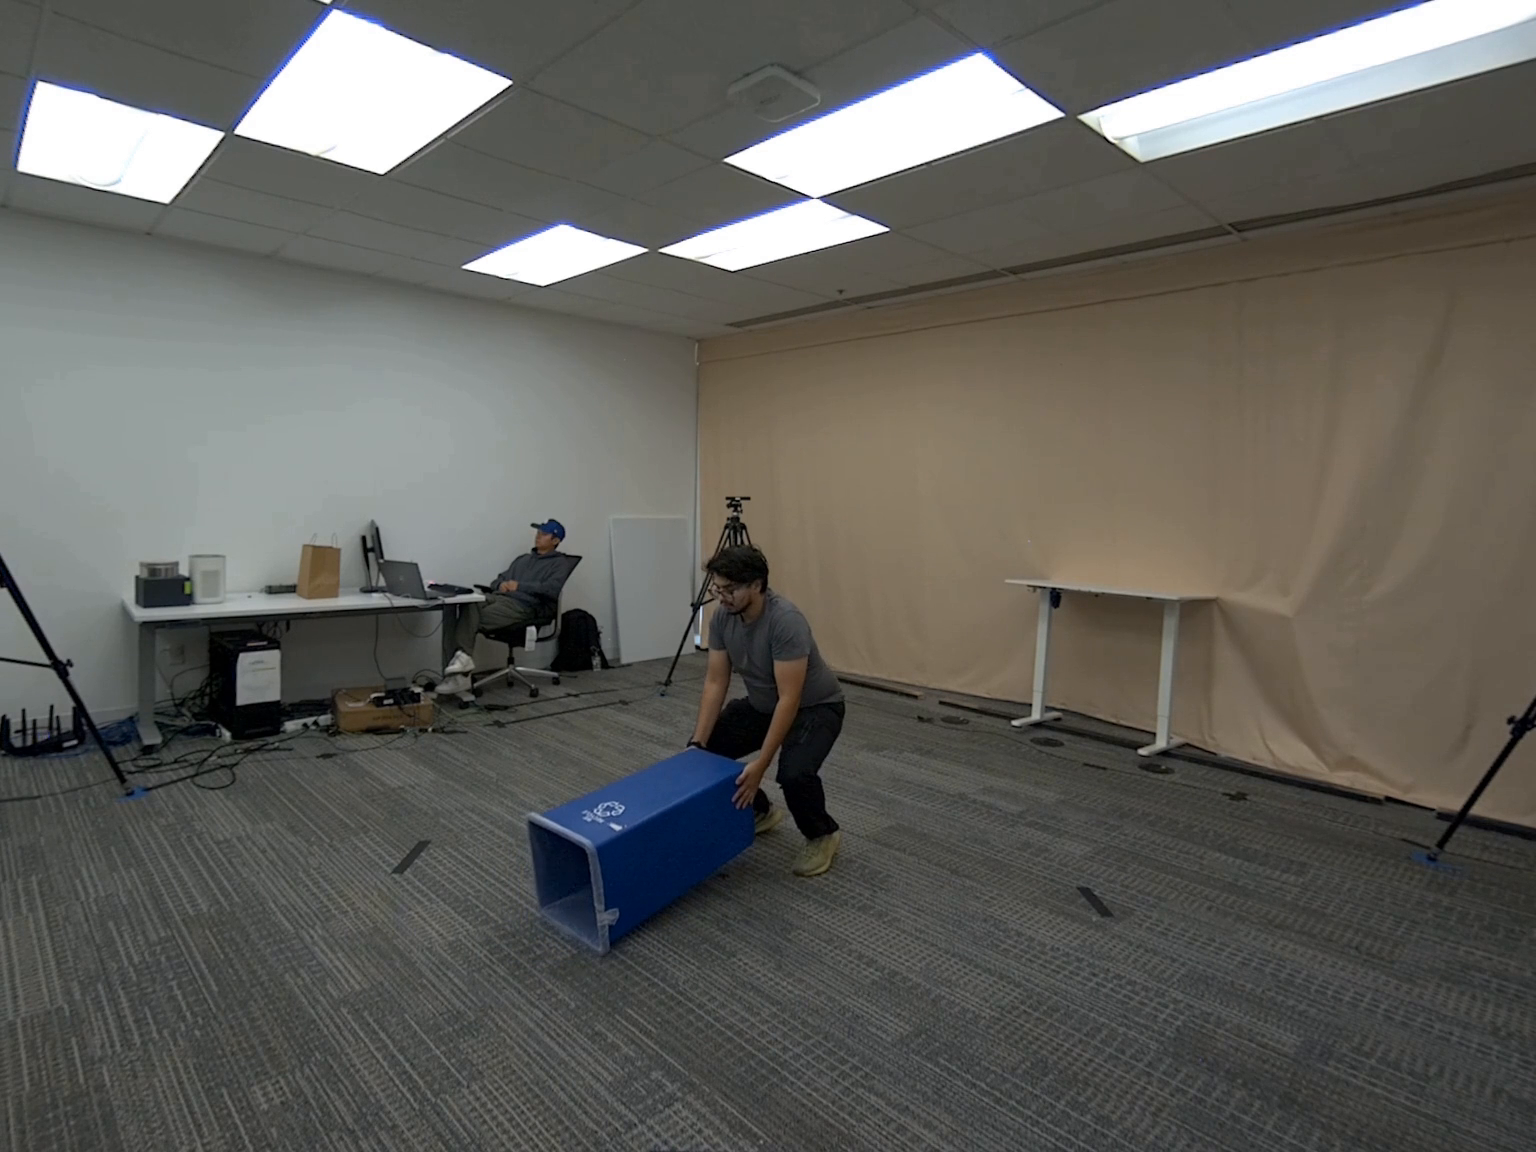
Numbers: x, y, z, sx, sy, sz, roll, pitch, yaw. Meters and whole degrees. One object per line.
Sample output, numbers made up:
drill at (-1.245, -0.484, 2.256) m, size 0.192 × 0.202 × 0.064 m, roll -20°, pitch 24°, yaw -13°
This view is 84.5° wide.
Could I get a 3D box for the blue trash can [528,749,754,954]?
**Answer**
blue trash can at (-0.412, 0.901, 2.849) m, size 0.700 × 0.375 × 0.383 m, roll -13°, pitch 12°, yaw -42°
